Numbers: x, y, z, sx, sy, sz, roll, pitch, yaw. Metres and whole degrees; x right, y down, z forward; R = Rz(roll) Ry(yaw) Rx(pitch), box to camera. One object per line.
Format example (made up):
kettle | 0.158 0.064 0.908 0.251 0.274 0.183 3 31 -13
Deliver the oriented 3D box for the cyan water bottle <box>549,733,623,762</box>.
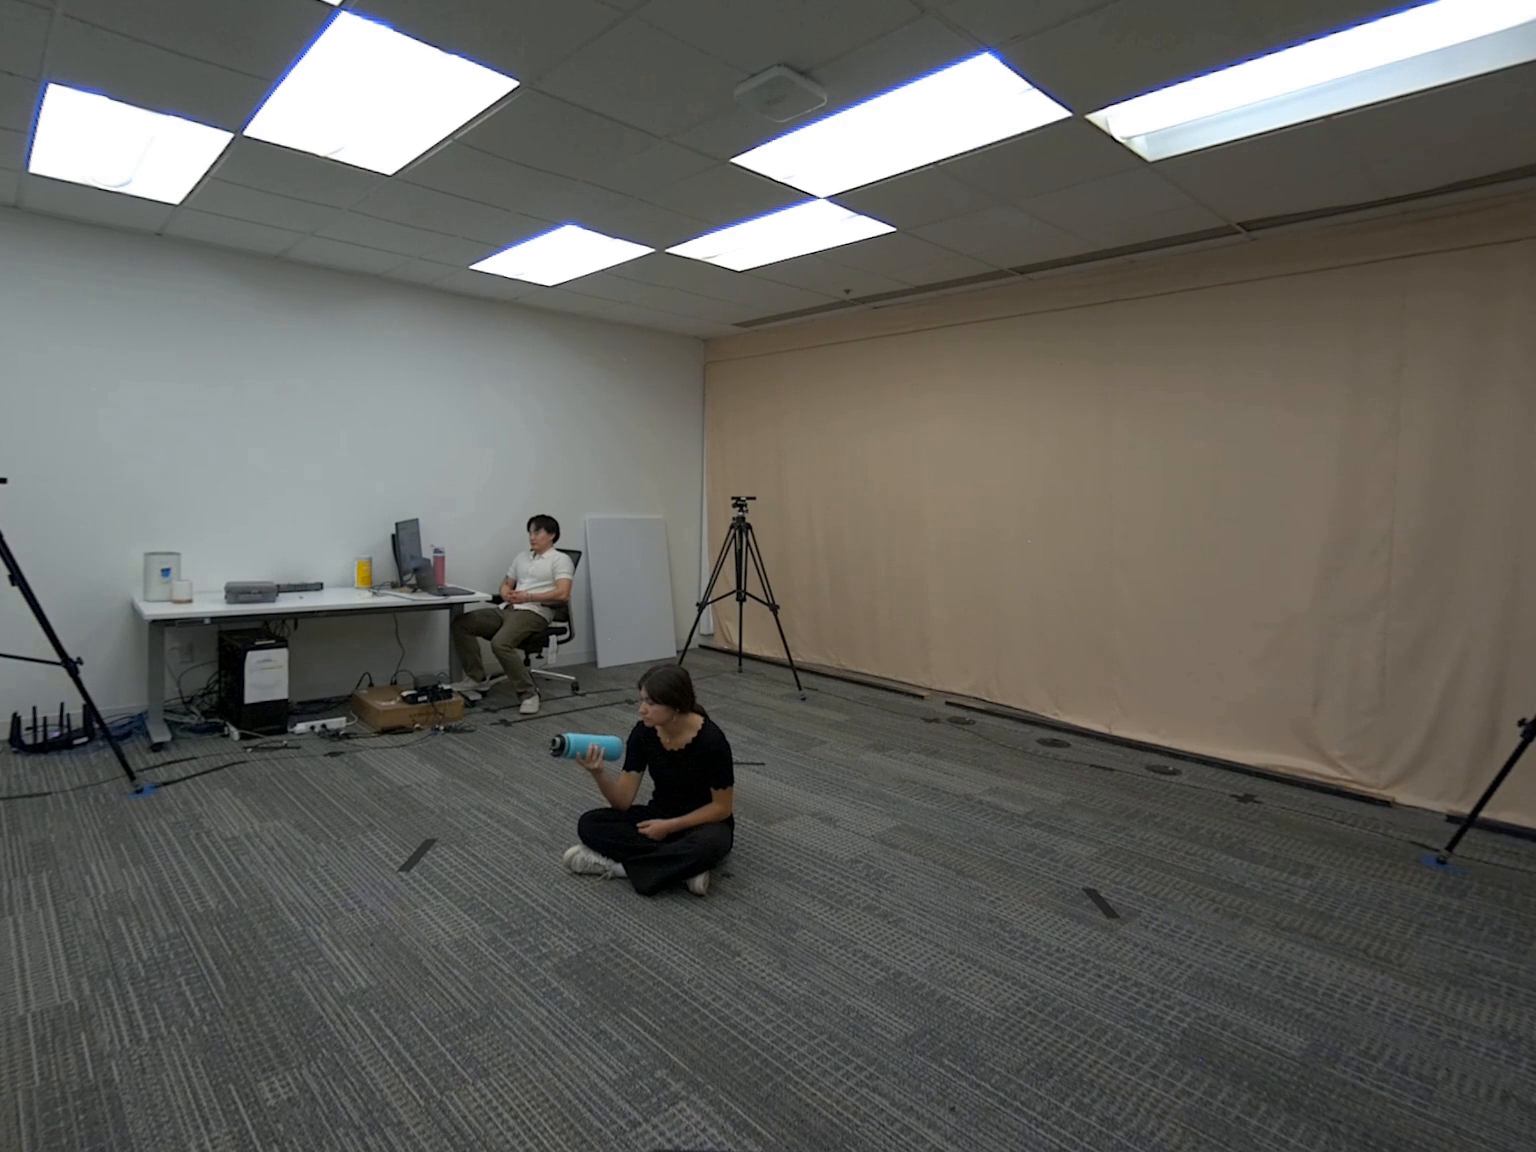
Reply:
cyan water bottle | -0.674 0.621 3.049 0.275 0.092 0.095 15 -6 -44
